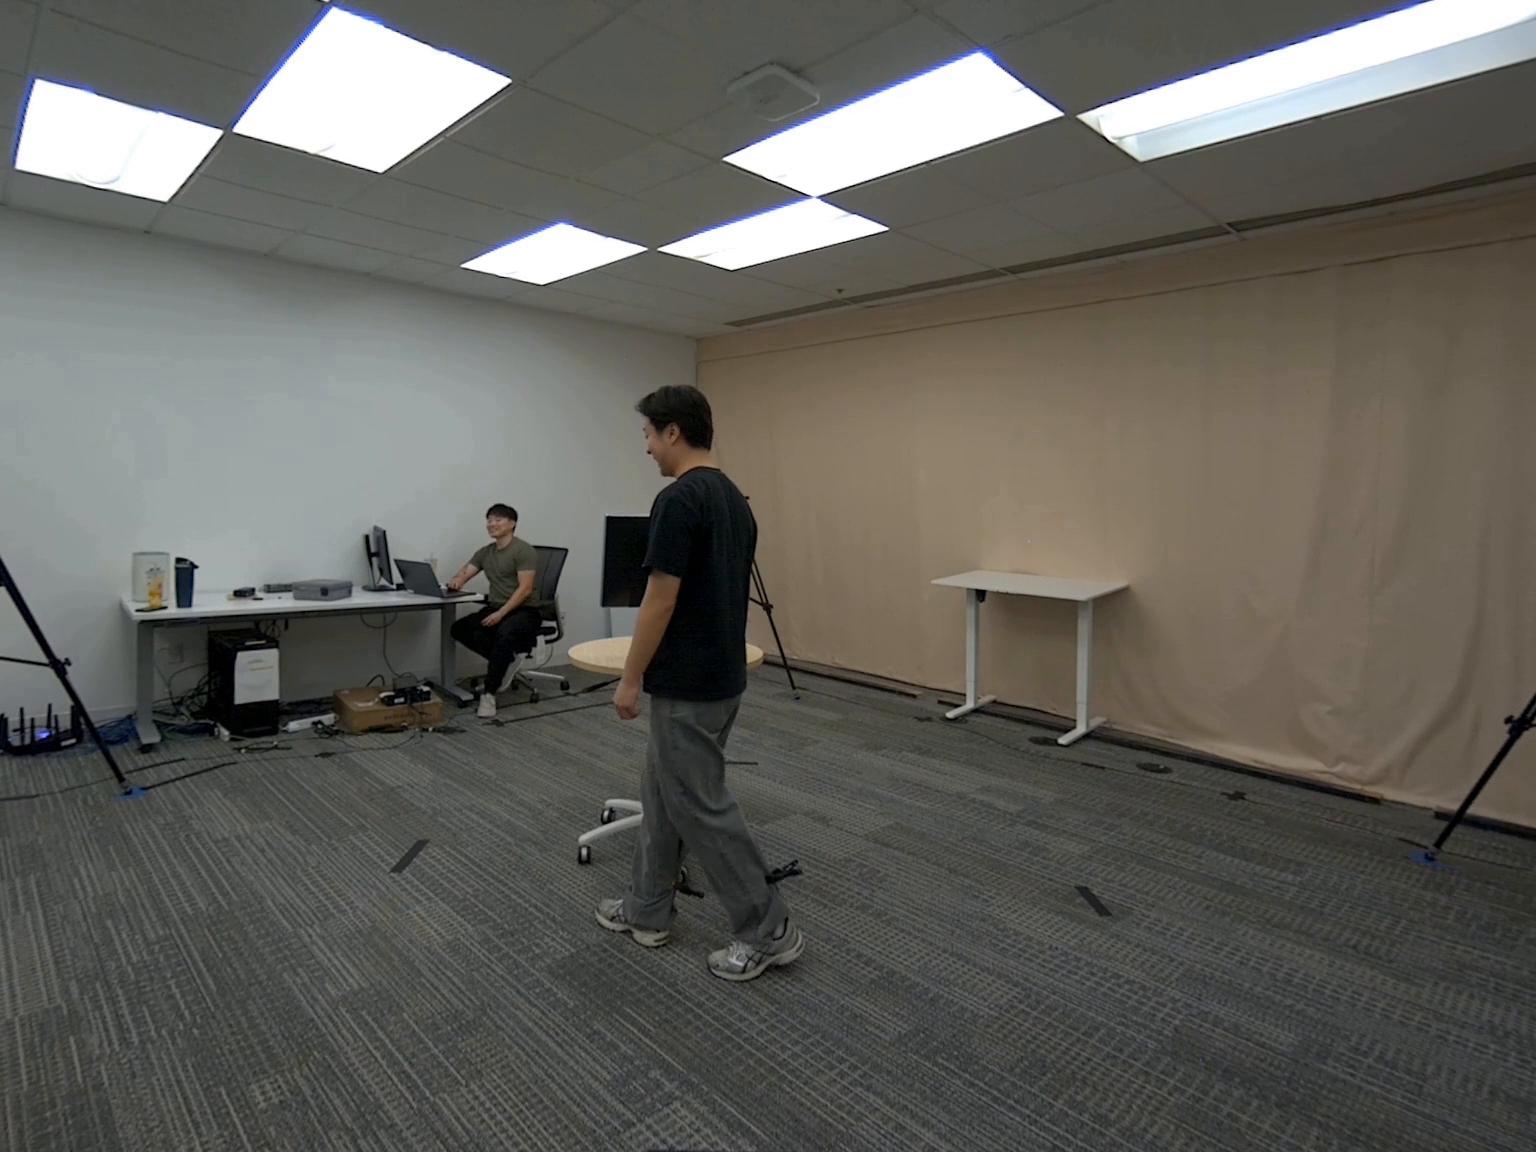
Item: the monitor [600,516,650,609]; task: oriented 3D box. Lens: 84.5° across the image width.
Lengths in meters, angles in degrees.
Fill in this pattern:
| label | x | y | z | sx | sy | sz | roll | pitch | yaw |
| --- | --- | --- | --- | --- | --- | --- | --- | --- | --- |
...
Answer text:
| label | x | y | z | sx | sy | sz | roll | pitch | yaw |
| --- | --- | --- | --- | --- | --- | --- | --- | --- | --- |
| monitor | -0.332 | 0.055 | 3.135 | 0.555 | 0.565 | 0.225 | 0 | 3 | -16 |
